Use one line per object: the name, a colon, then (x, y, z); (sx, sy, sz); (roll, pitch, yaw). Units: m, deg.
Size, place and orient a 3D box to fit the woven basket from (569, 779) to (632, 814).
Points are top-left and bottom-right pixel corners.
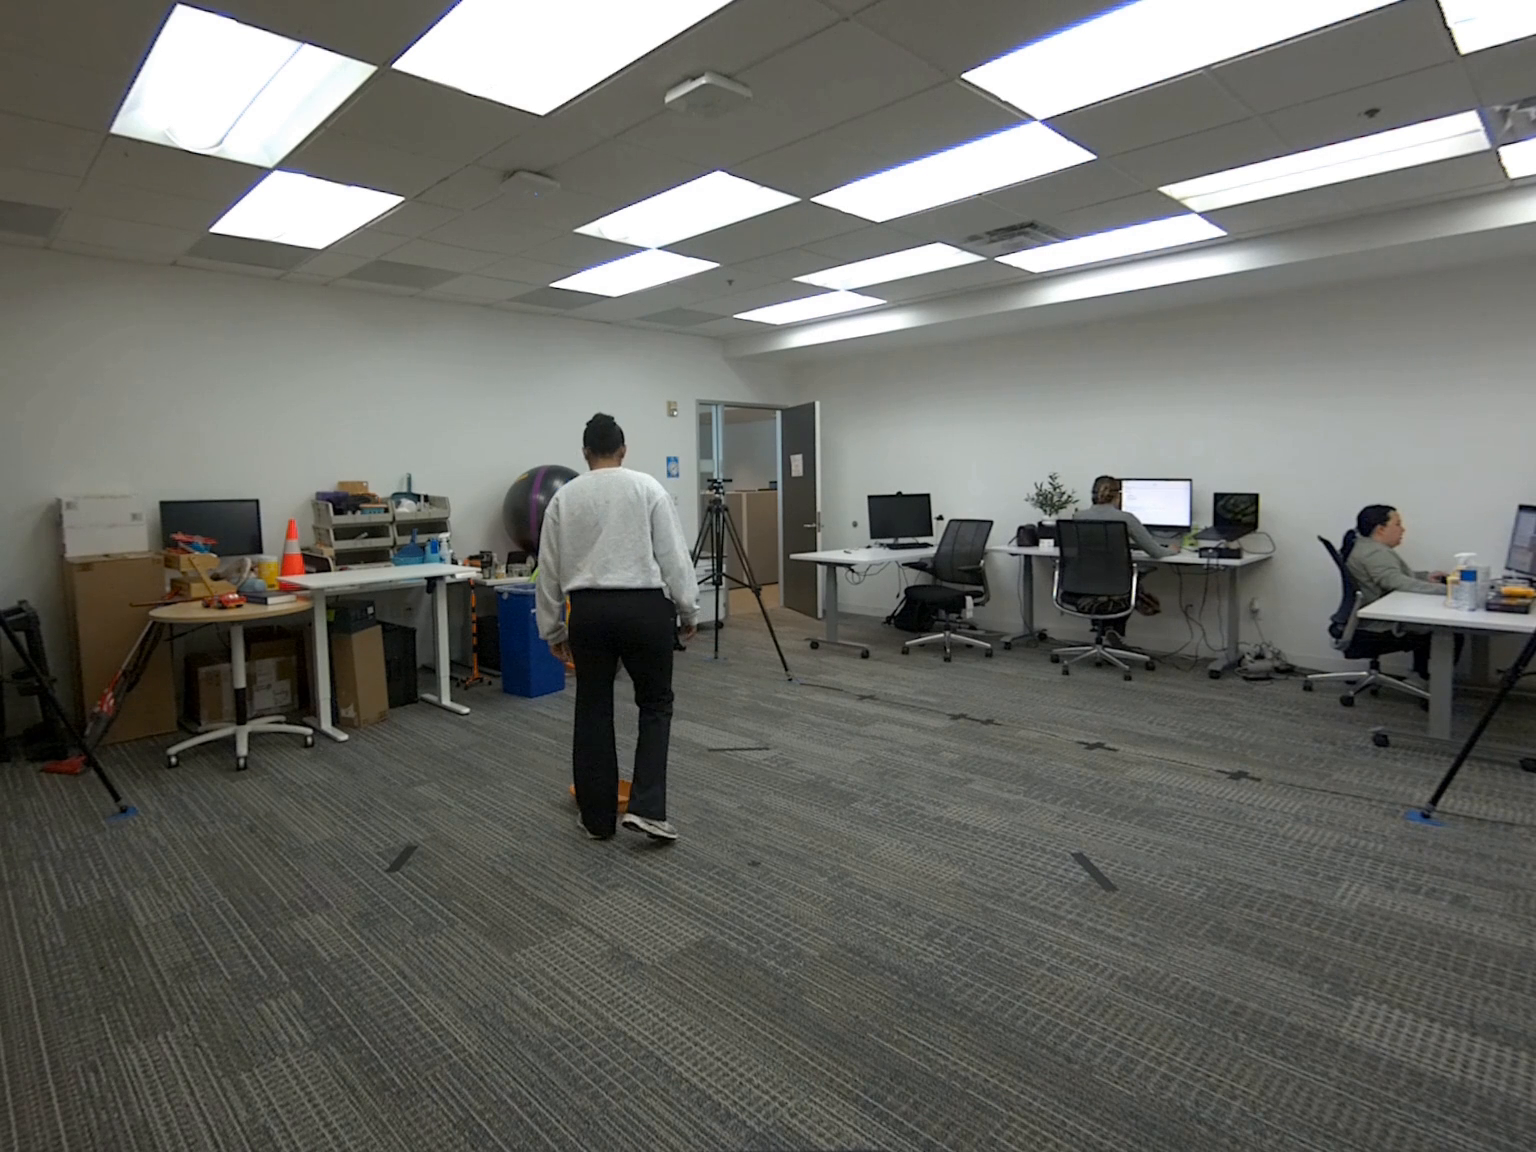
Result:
woven basket: (-0.695, 0.952, 3.709); (0.361, 0.073, 0.246); (5, 8, 40)
